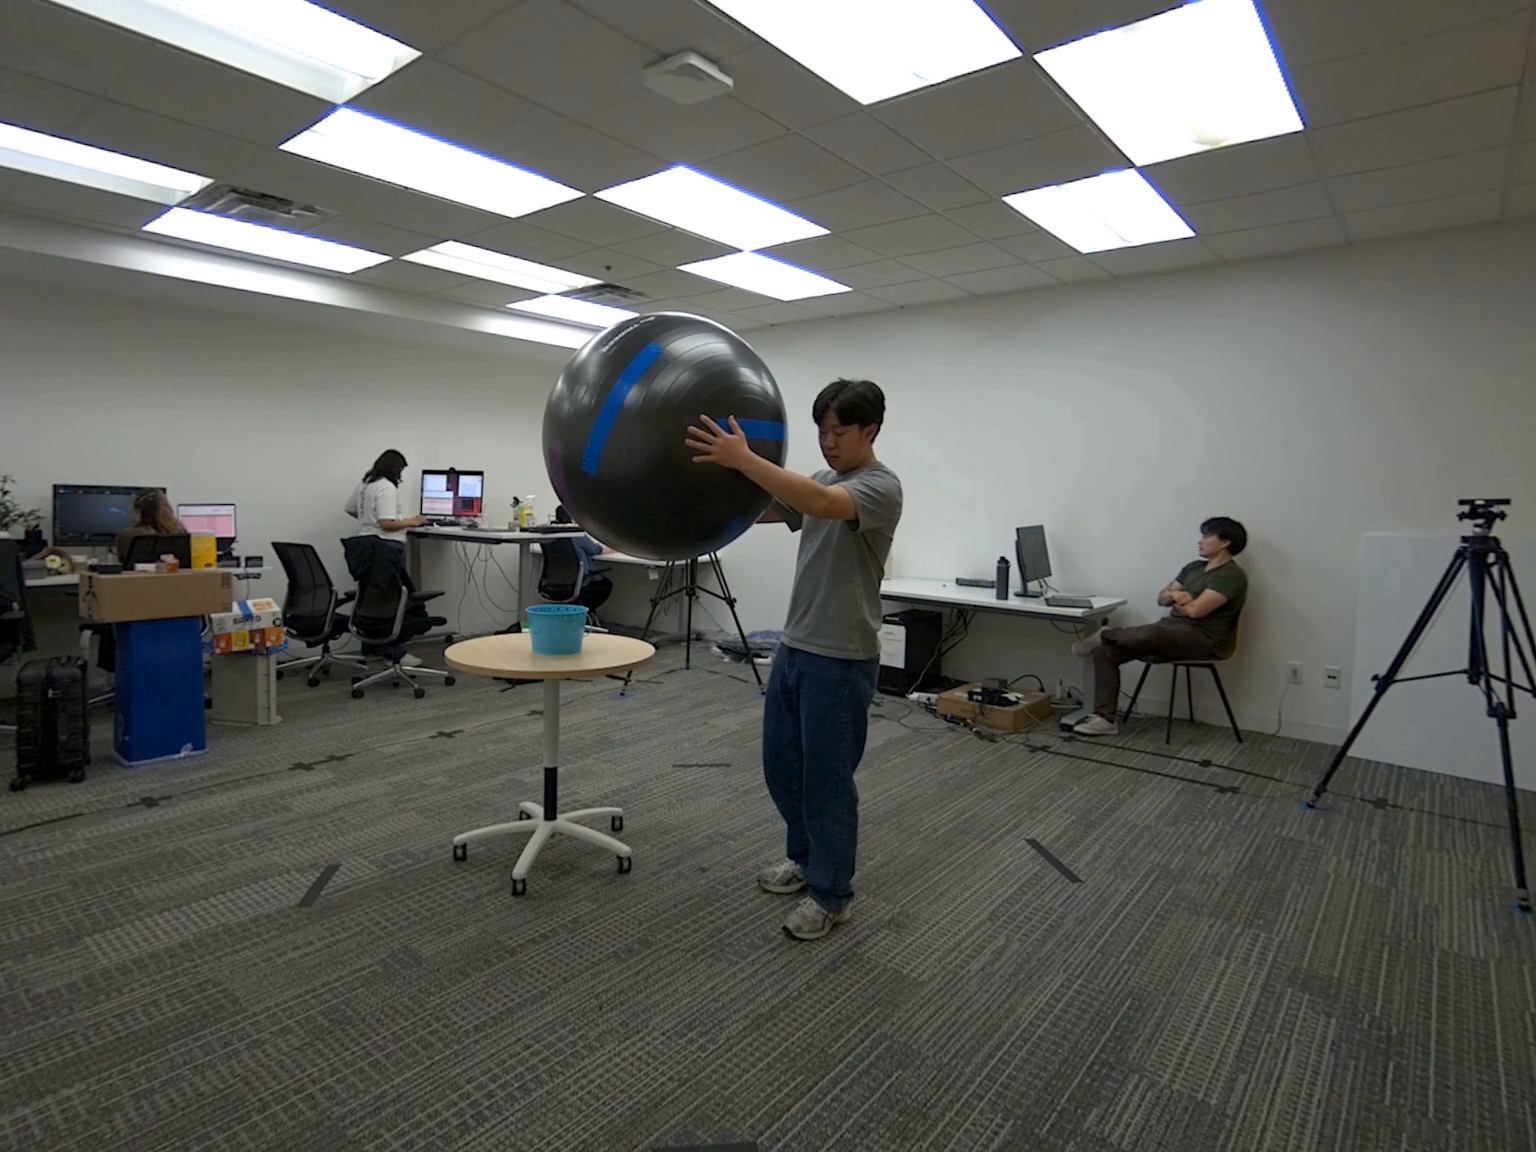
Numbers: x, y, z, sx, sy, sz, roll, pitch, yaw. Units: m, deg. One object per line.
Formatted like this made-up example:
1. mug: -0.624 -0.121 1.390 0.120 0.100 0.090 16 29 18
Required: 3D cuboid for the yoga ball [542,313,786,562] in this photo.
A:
1. yoga ball: -0.331 -0.422 2.640 0.757 0.755 0.762 1 4 -2
